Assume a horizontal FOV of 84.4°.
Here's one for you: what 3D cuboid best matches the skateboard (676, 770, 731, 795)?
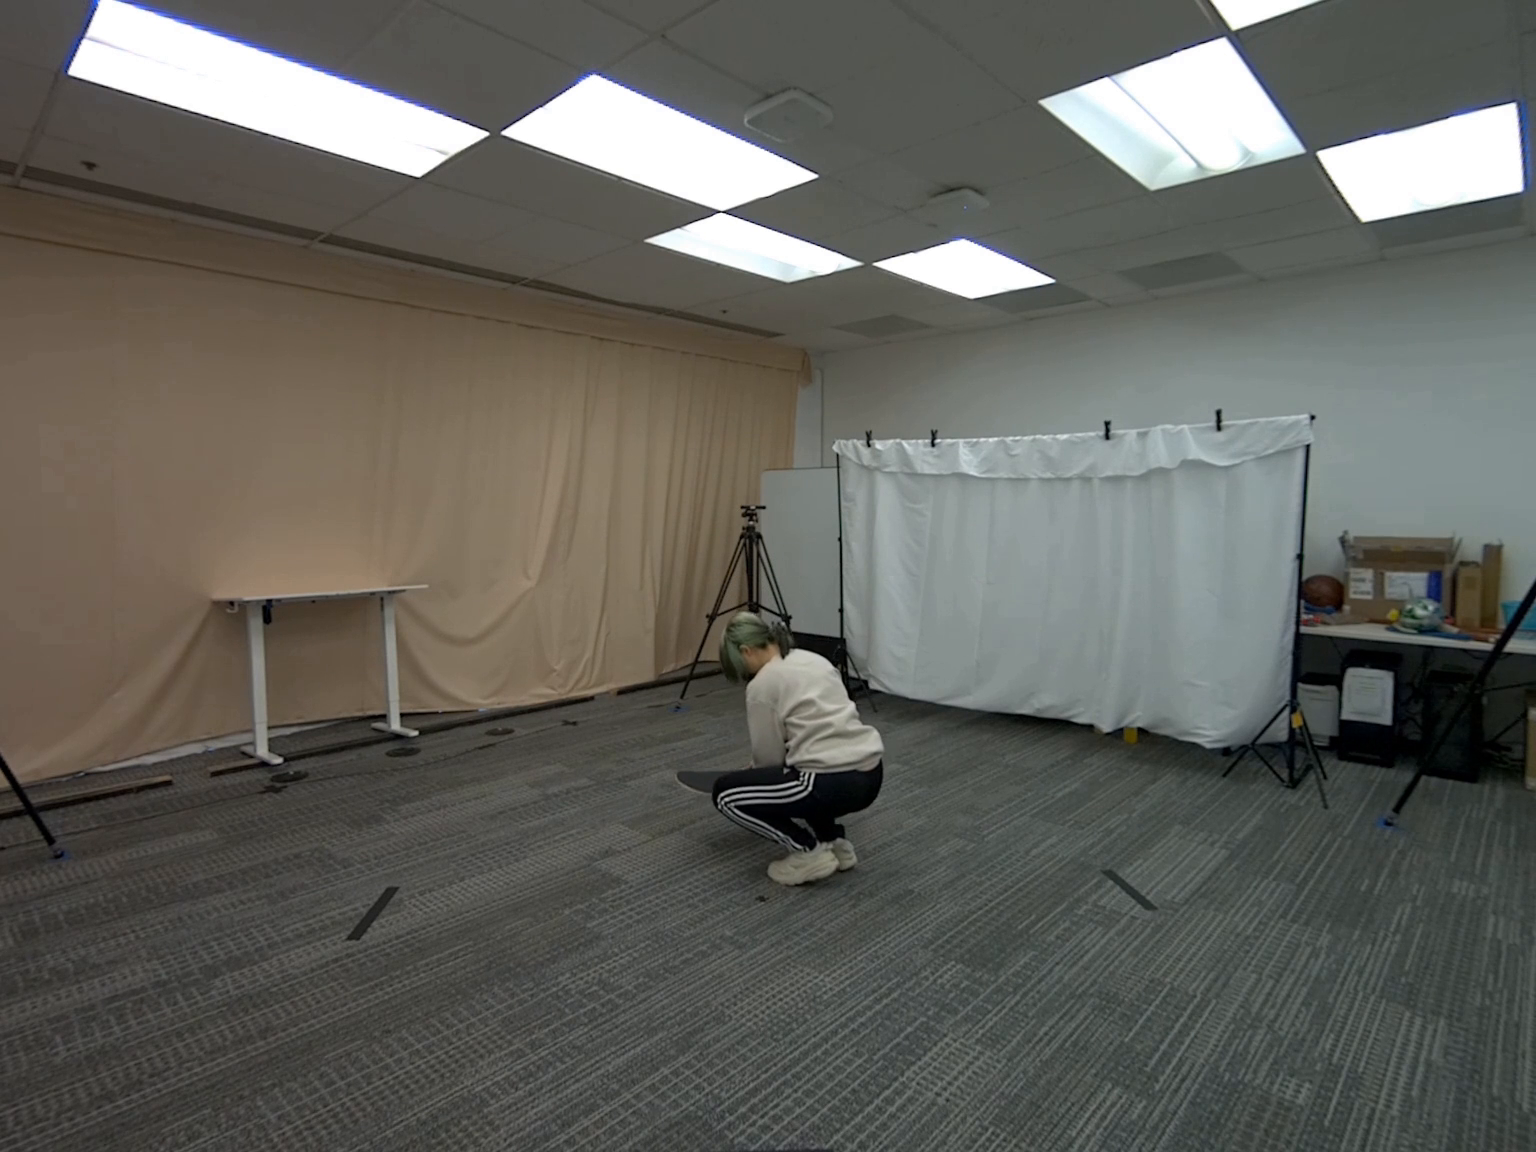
[{"bbox_3d":[-0.013,0.893,3.558,0.771,0.110,0.198,4,12,-18],"label":"skateboard"}]
